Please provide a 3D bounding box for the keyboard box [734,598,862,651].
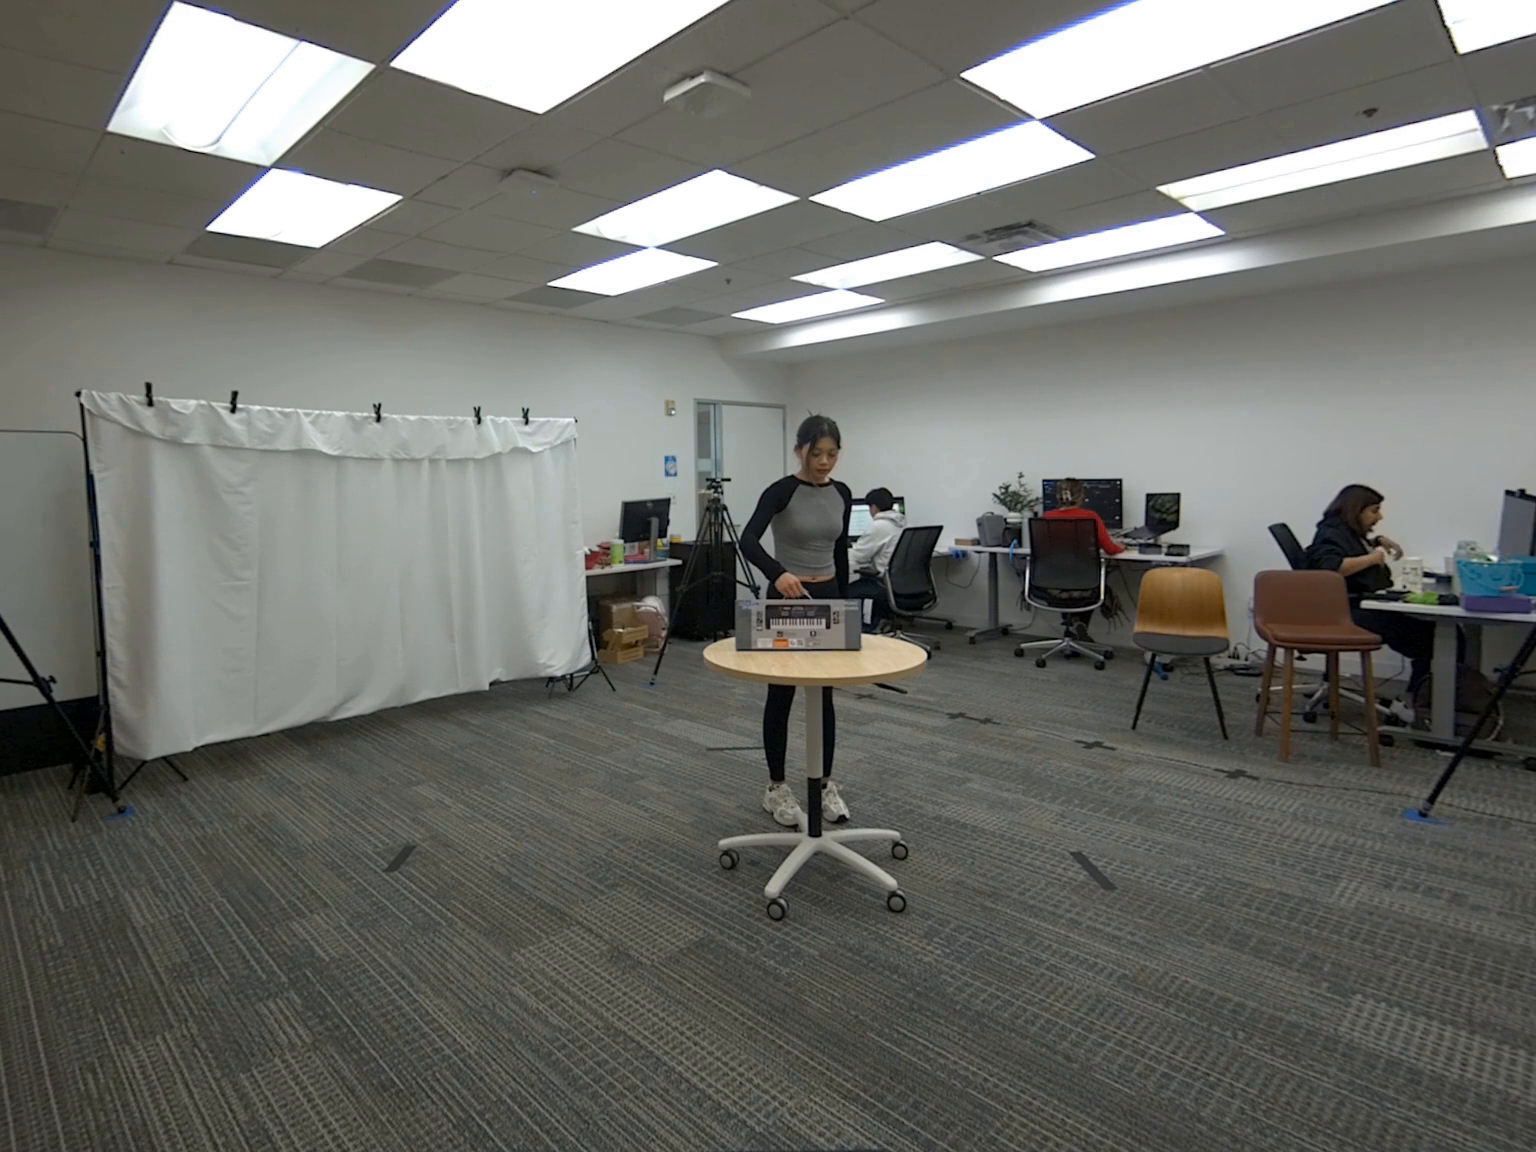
[{"bbox_3d":[0.106,0.160,2.999,0.437,0.176,0.059,0,-1,1],"label":"keyboard box"}]
